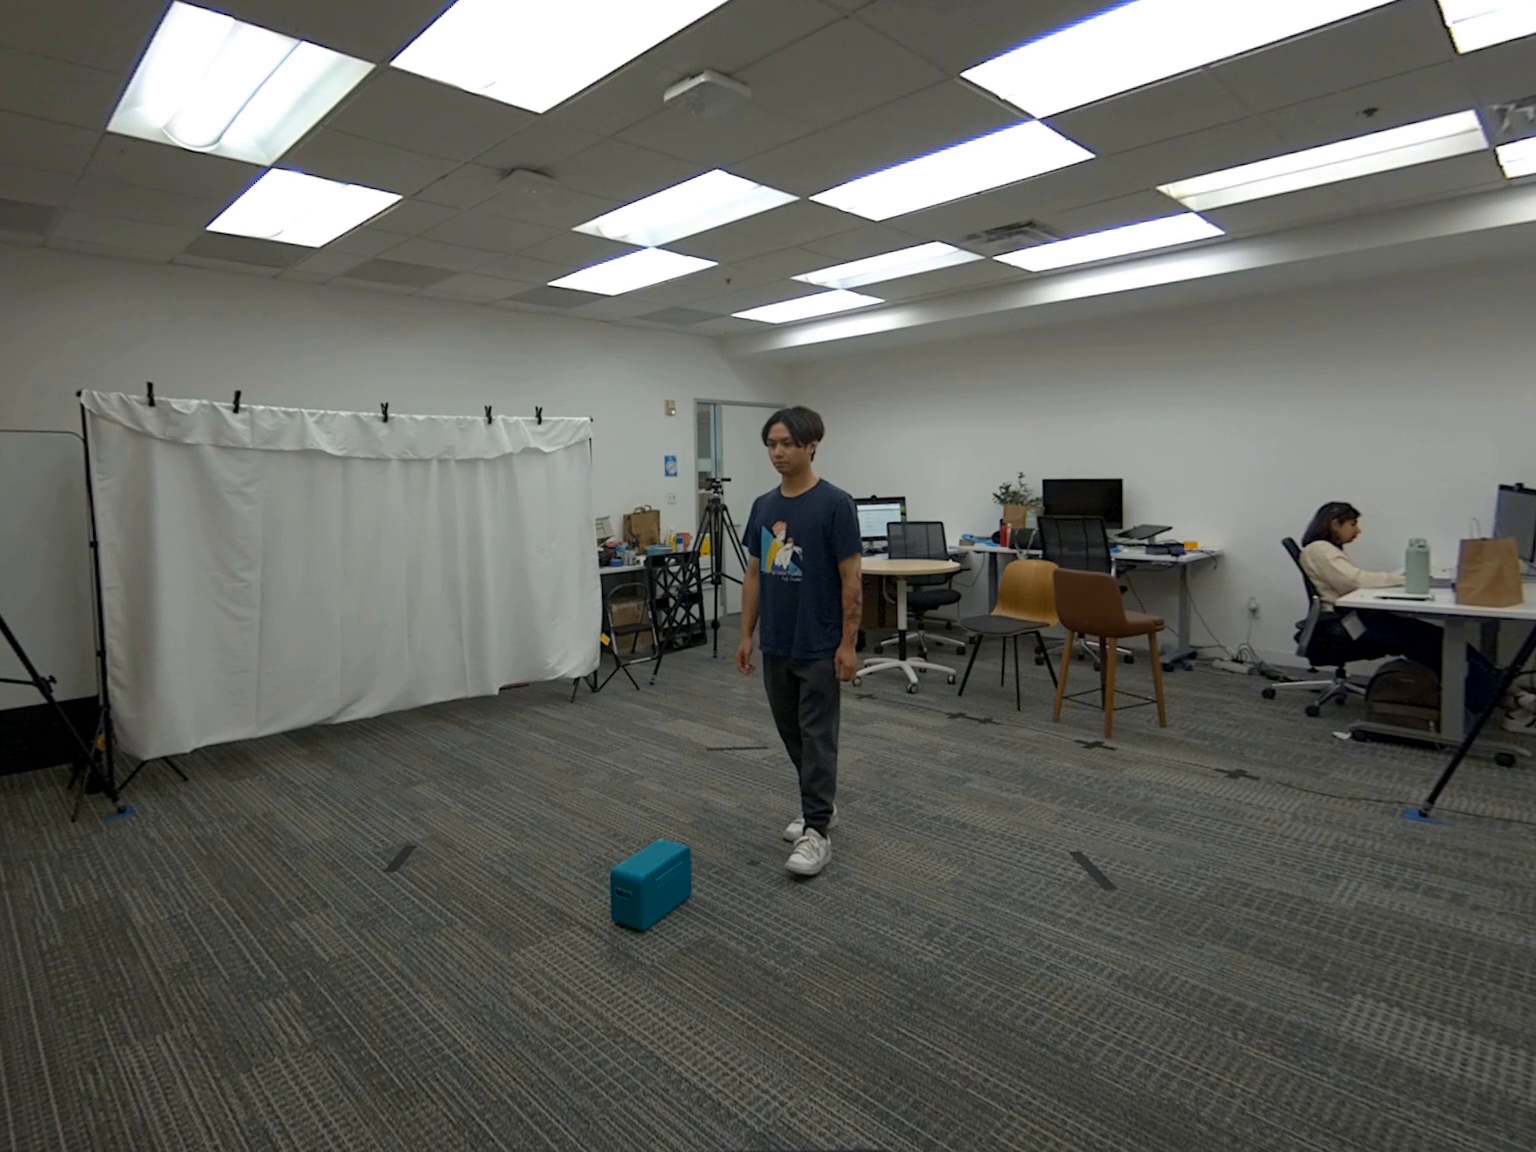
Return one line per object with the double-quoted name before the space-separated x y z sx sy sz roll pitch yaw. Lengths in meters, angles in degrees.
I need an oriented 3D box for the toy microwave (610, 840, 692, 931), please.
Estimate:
"toy microwave" -0.378 0.995 2.774 0.156 0.183 0.280 2 7 30
